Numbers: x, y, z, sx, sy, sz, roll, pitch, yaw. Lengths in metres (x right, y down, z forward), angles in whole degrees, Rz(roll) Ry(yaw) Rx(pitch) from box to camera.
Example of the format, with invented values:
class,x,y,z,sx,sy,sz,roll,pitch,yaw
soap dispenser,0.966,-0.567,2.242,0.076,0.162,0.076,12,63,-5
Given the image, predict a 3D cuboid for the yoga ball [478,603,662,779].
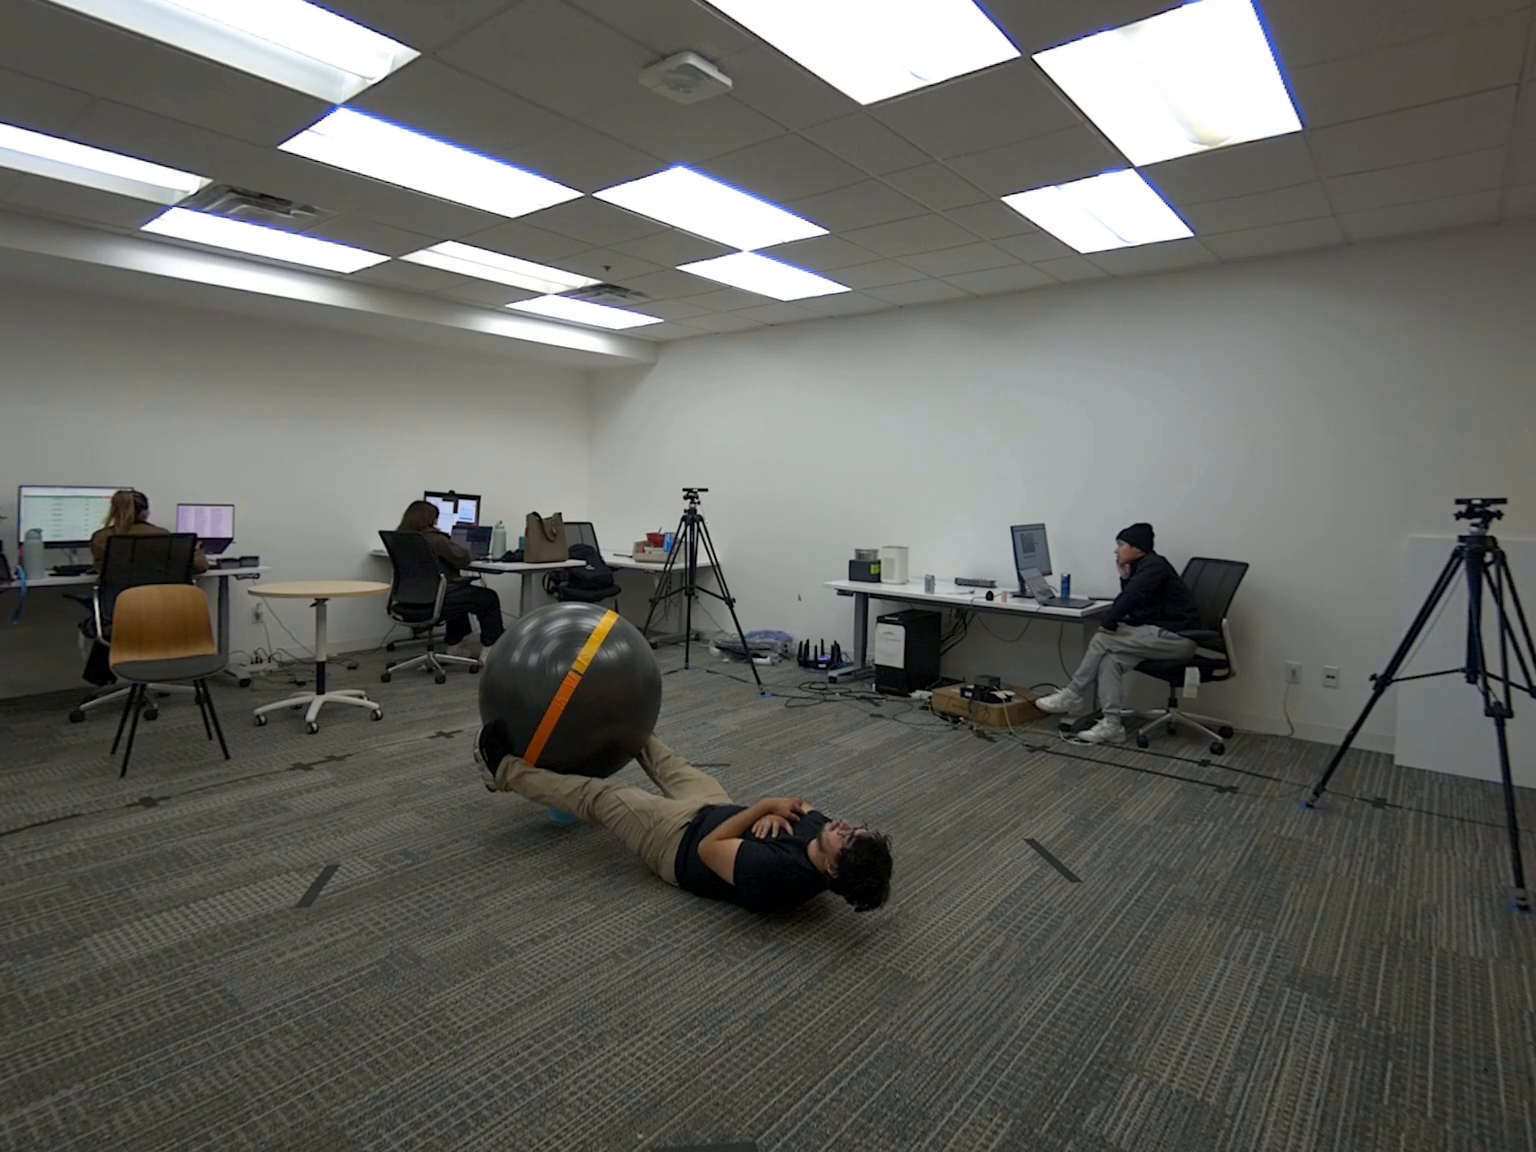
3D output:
class,x,y,z,sx,sy,sz,roll,pitch,yaw
yoga ball,-0.835,0.490,3.569,0.757,0.755,0.762,1,4,-2
